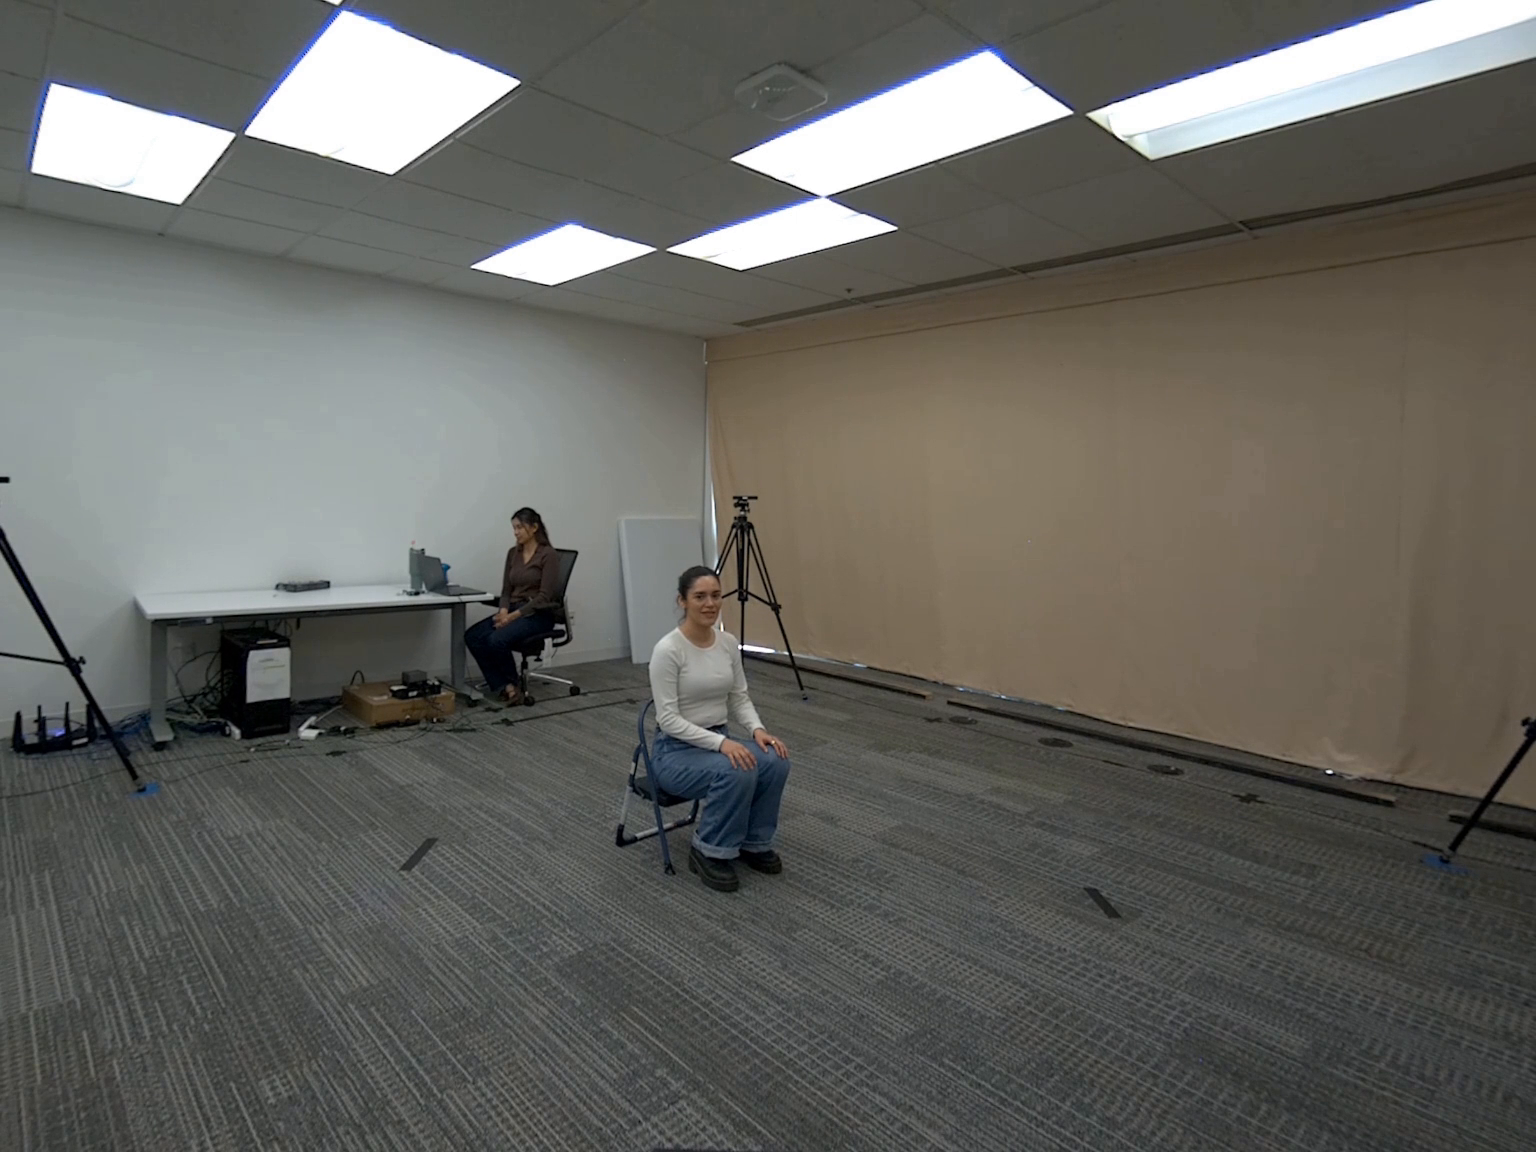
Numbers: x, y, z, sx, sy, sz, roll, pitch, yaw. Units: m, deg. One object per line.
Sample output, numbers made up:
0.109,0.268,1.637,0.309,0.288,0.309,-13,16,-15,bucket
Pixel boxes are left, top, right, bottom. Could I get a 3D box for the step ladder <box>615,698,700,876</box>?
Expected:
-0.341,0.772,3.347,0.358,0.605,0.421,5,4,44,step ladder
